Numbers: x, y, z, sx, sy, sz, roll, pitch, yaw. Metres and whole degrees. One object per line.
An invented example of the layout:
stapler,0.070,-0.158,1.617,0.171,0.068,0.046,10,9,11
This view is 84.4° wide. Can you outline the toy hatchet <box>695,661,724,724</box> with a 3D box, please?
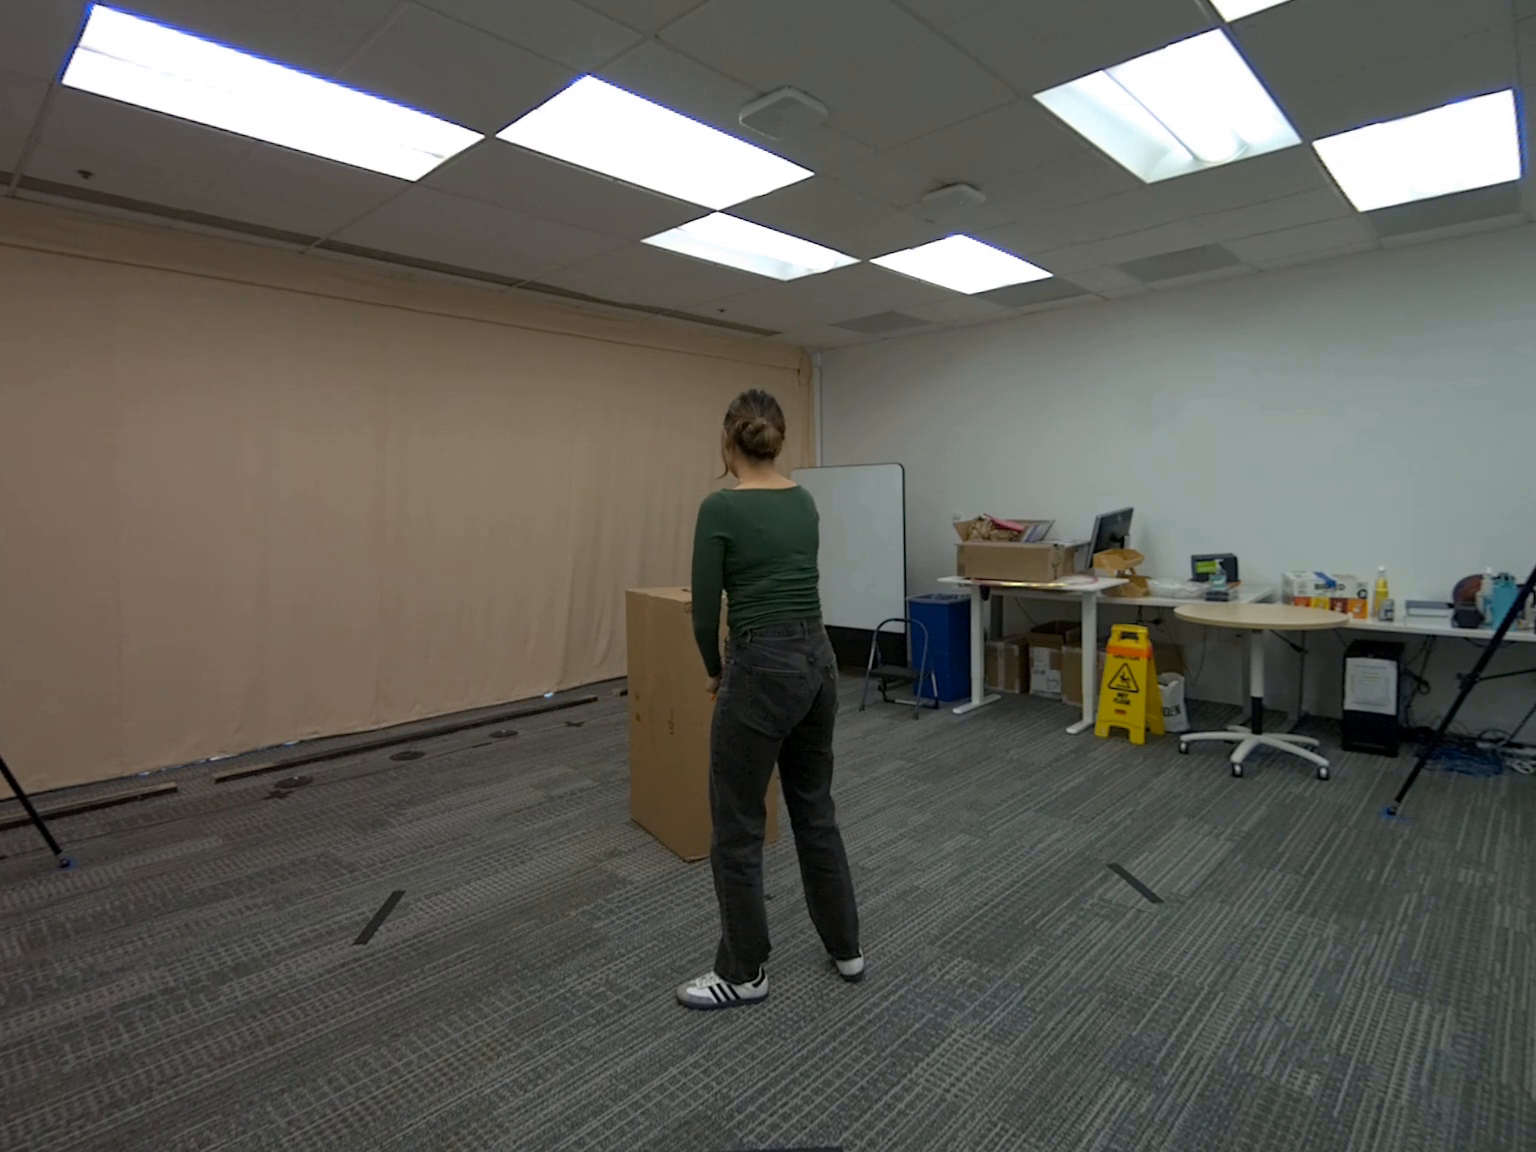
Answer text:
toy hatchet,-0.170,0.354,2.626,0.029,0.131,0.270,29,5,-3
